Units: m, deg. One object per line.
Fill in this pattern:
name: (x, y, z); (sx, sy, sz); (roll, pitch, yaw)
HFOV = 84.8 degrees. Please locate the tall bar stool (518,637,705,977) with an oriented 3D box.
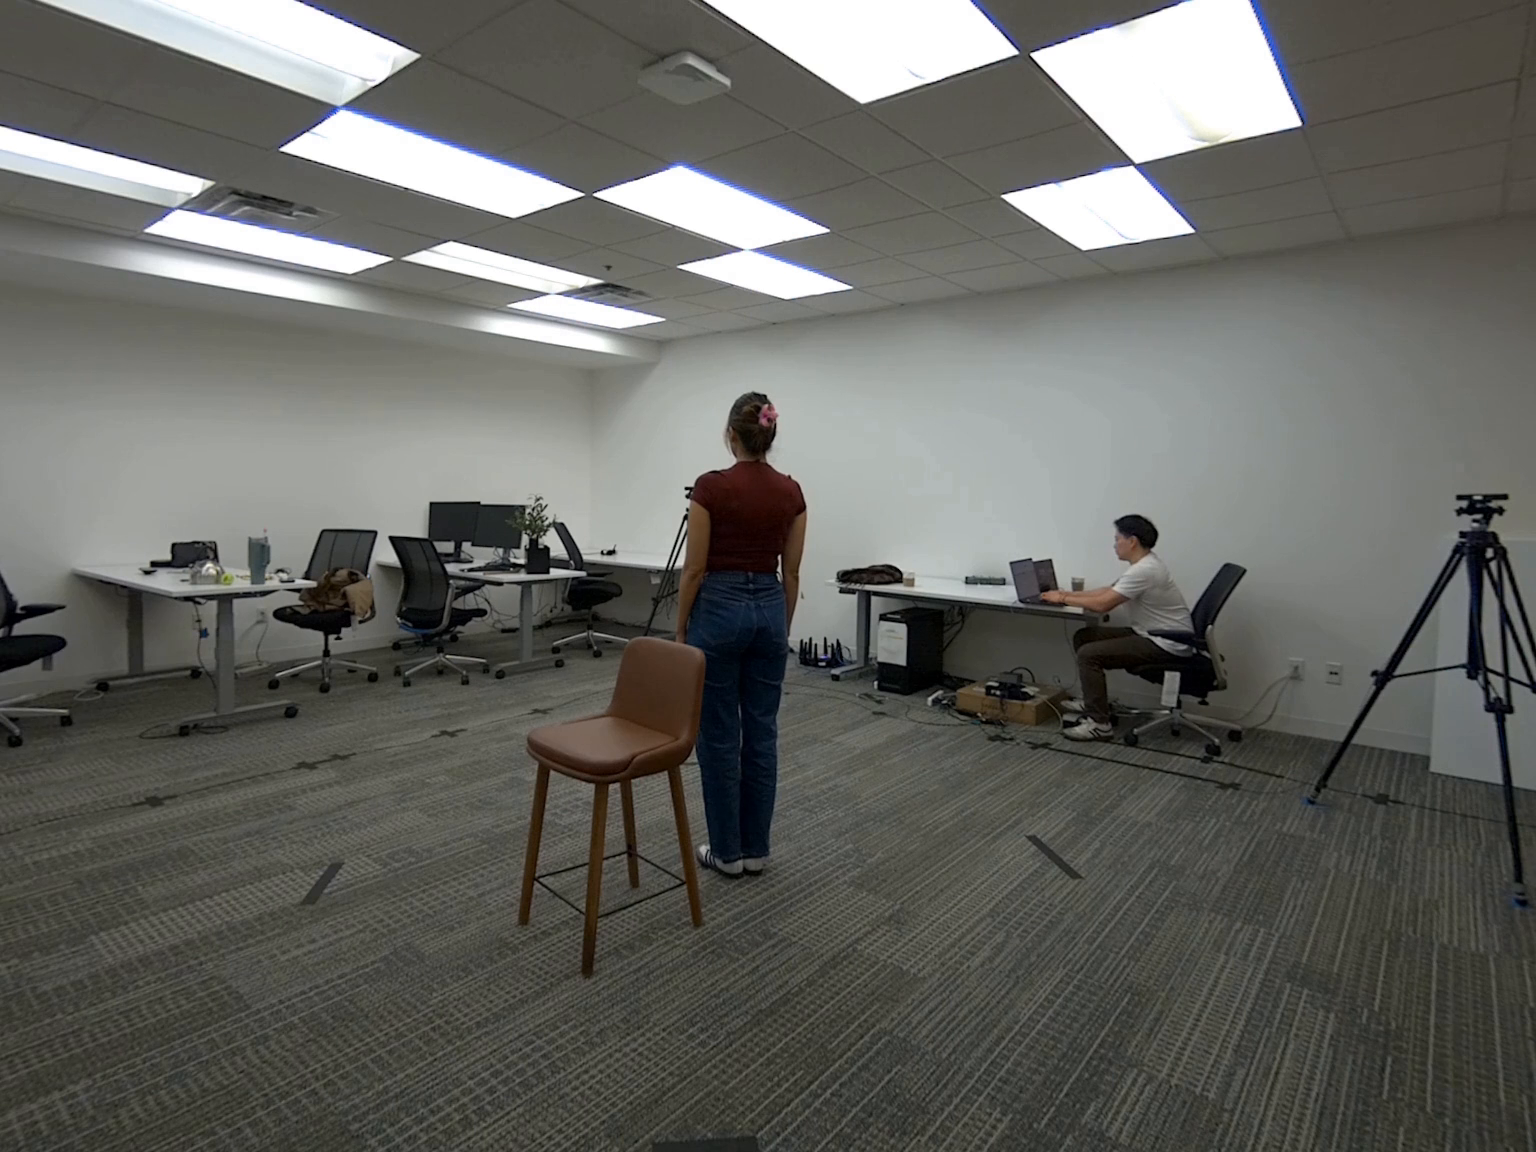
tall bar stool: (-0.494, 0.669, 2.678); (0.453, 0.888, 0.472); (1, 2, -43)
